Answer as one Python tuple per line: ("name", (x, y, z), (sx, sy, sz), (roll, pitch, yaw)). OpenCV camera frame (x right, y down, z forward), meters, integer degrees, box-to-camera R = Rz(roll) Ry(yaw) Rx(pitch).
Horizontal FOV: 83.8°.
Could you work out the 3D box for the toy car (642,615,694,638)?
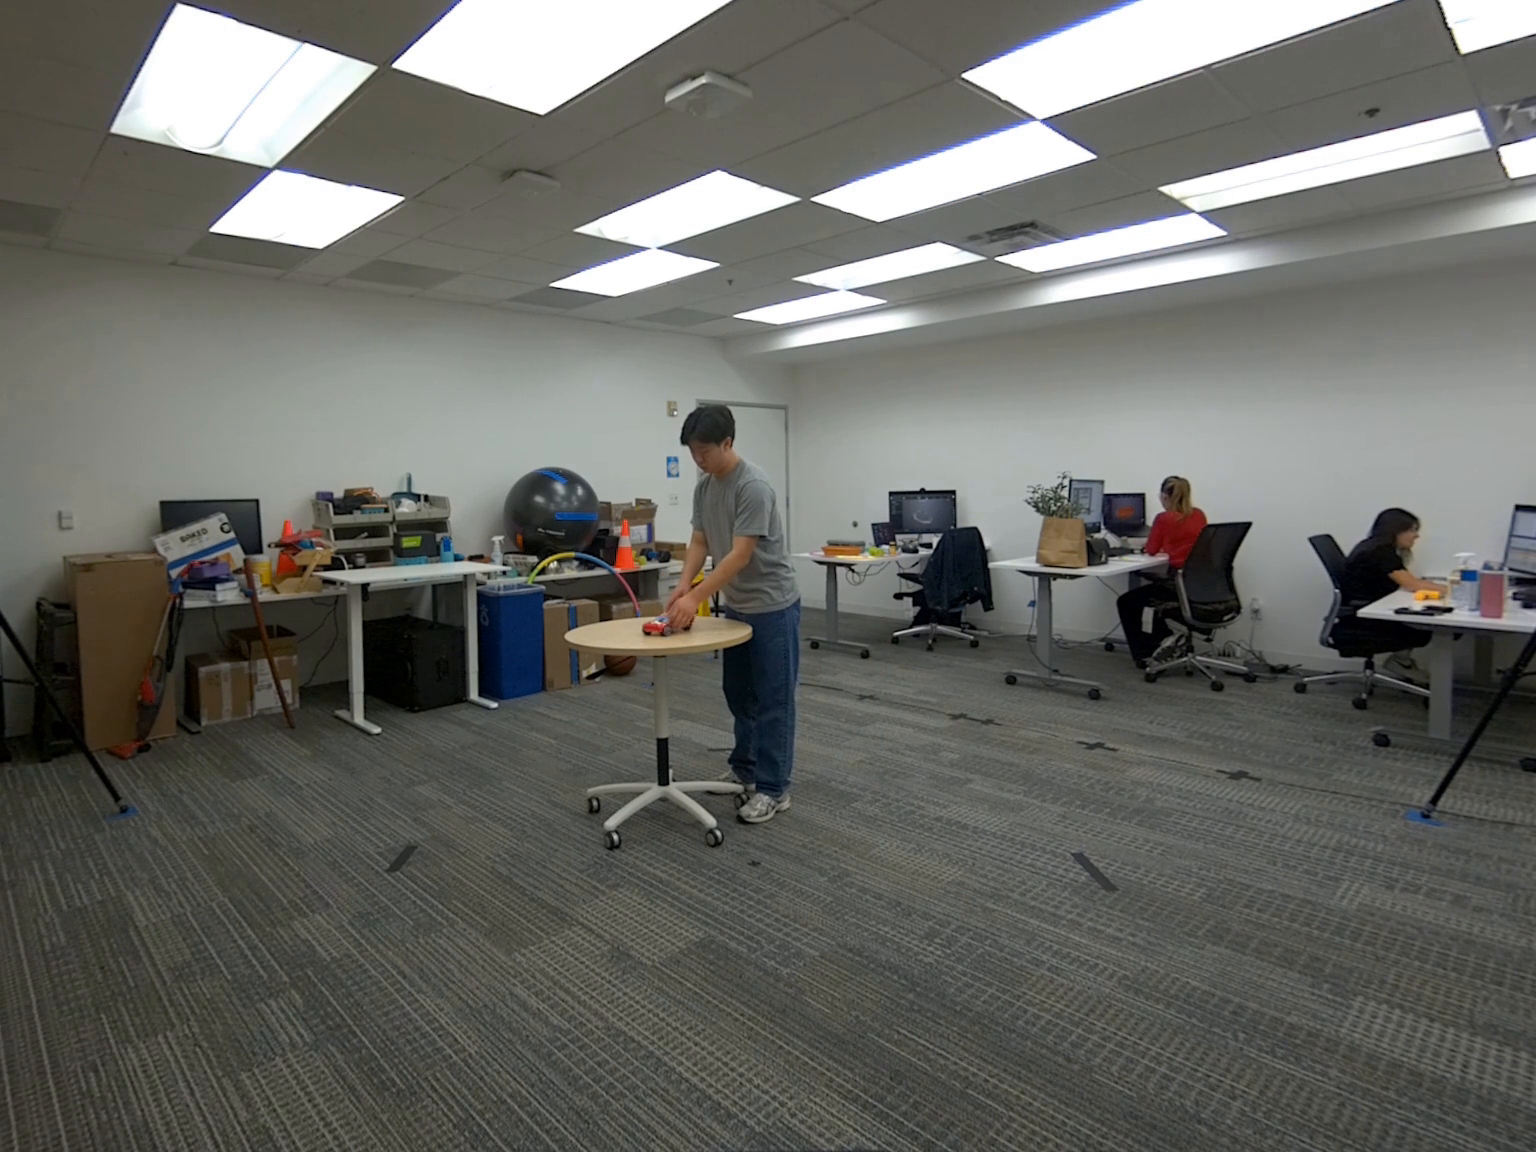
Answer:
("toy car", (-0.398, 0.197, 3.479), (0.134, 0.082, 0.251), (1, 17, 31))
